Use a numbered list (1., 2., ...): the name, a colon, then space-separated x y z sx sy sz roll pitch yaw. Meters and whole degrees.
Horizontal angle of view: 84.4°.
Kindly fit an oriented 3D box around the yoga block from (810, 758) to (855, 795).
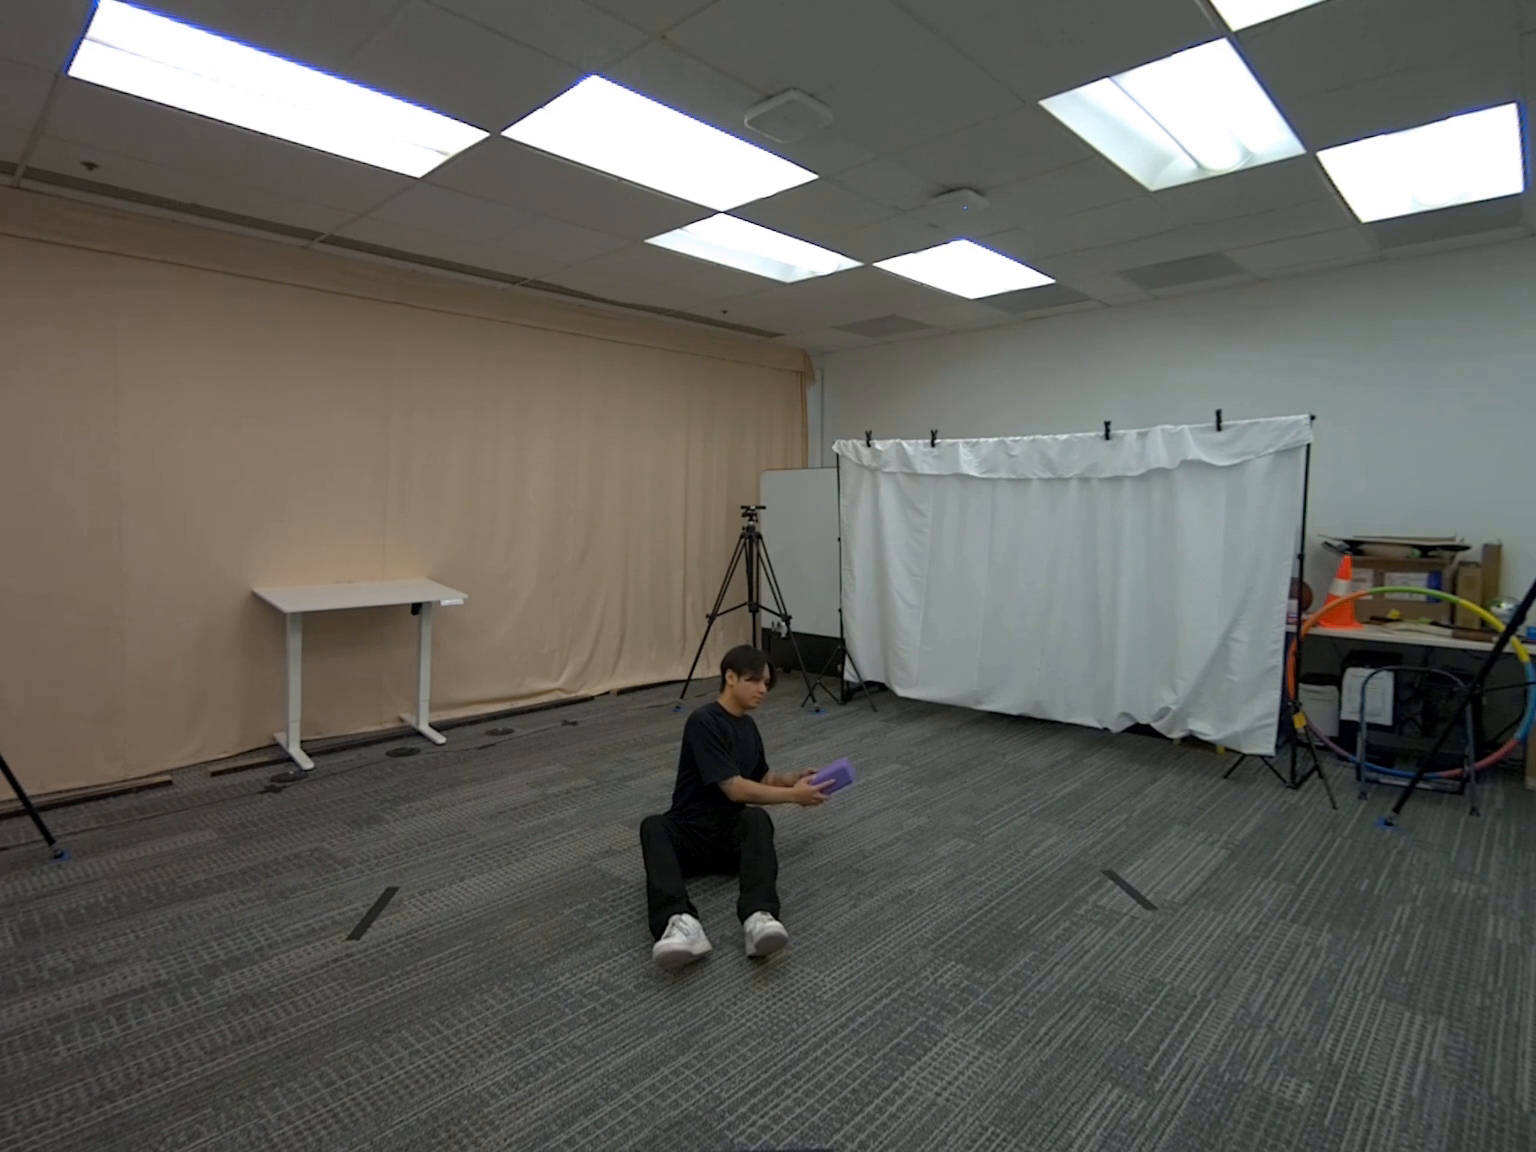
1. yoga block: 0.217 0.806 3.288 0.231 0.077 0.147 -27 -2 9
